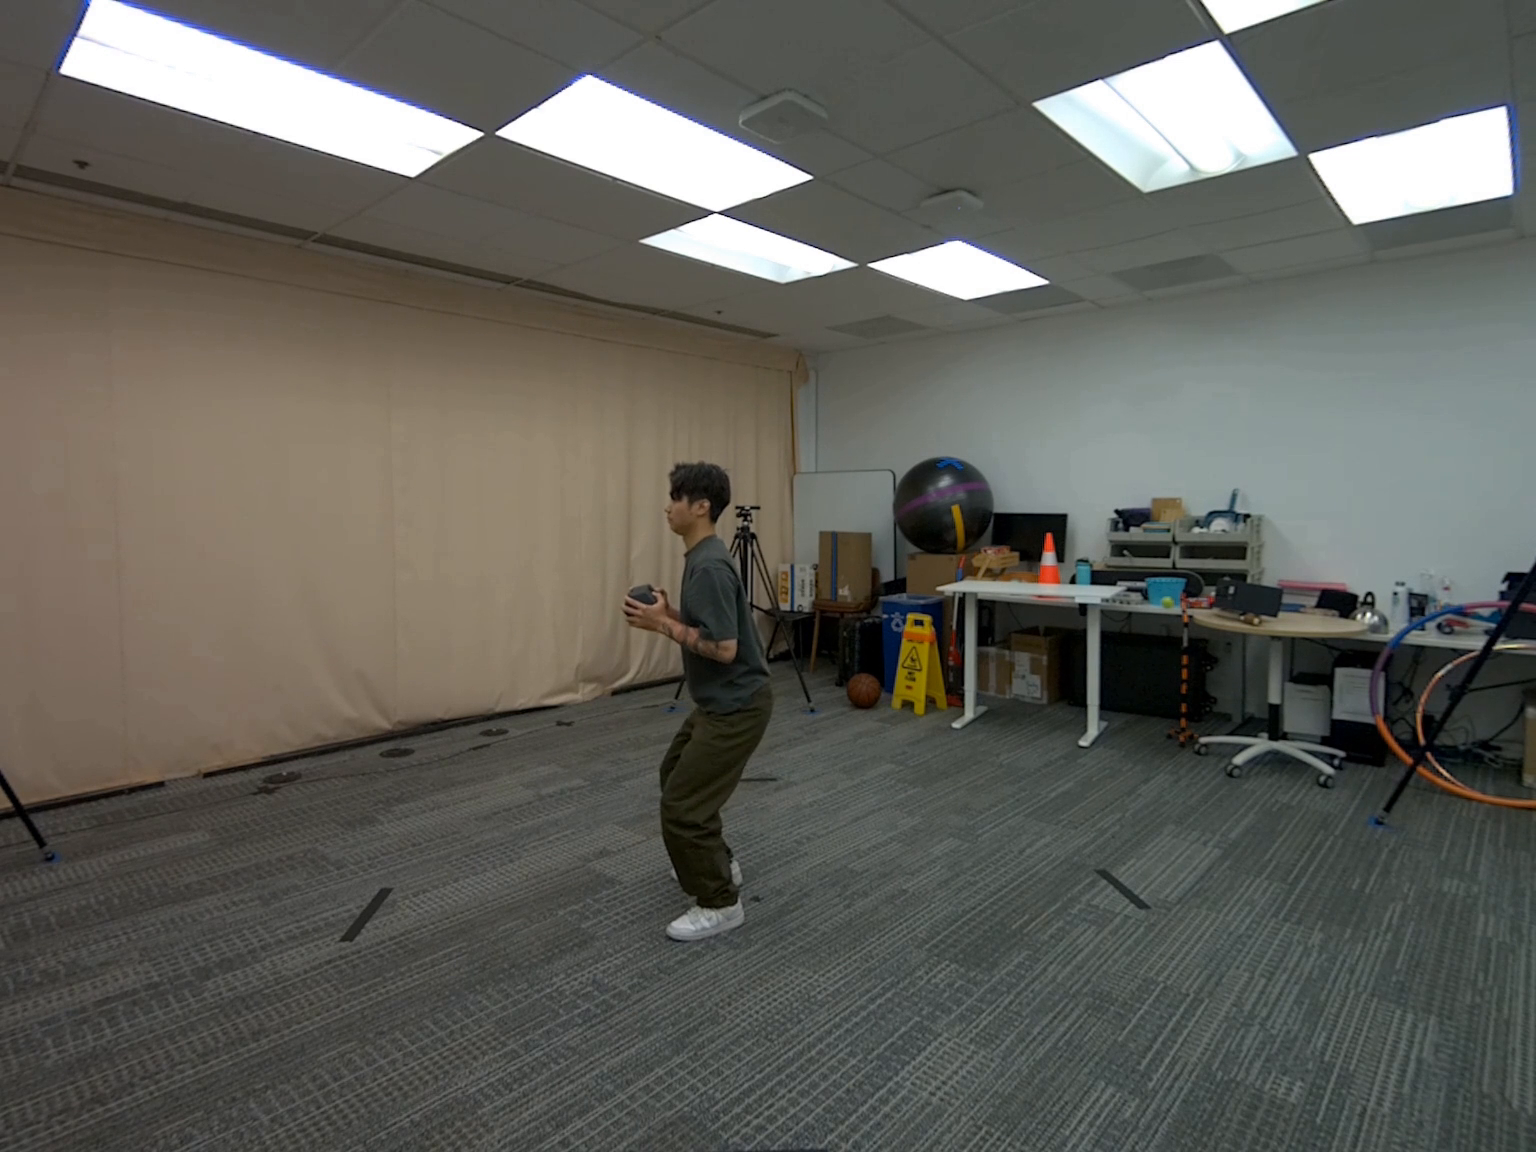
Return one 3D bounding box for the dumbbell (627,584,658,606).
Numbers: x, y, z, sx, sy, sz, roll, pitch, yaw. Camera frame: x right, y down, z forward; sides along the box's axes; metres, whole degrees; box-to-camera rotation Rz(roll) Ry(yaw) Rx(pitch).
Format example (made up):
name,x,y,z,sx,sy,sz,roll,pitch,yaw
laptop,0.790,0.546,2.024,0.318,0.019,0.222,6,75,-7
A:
name,x,y,z,sx,sy,sz,roll,pitch,yaw
dumbbell,-0.416,0.096,2.926,0.109,0.123,0.294,-41,2,-1
